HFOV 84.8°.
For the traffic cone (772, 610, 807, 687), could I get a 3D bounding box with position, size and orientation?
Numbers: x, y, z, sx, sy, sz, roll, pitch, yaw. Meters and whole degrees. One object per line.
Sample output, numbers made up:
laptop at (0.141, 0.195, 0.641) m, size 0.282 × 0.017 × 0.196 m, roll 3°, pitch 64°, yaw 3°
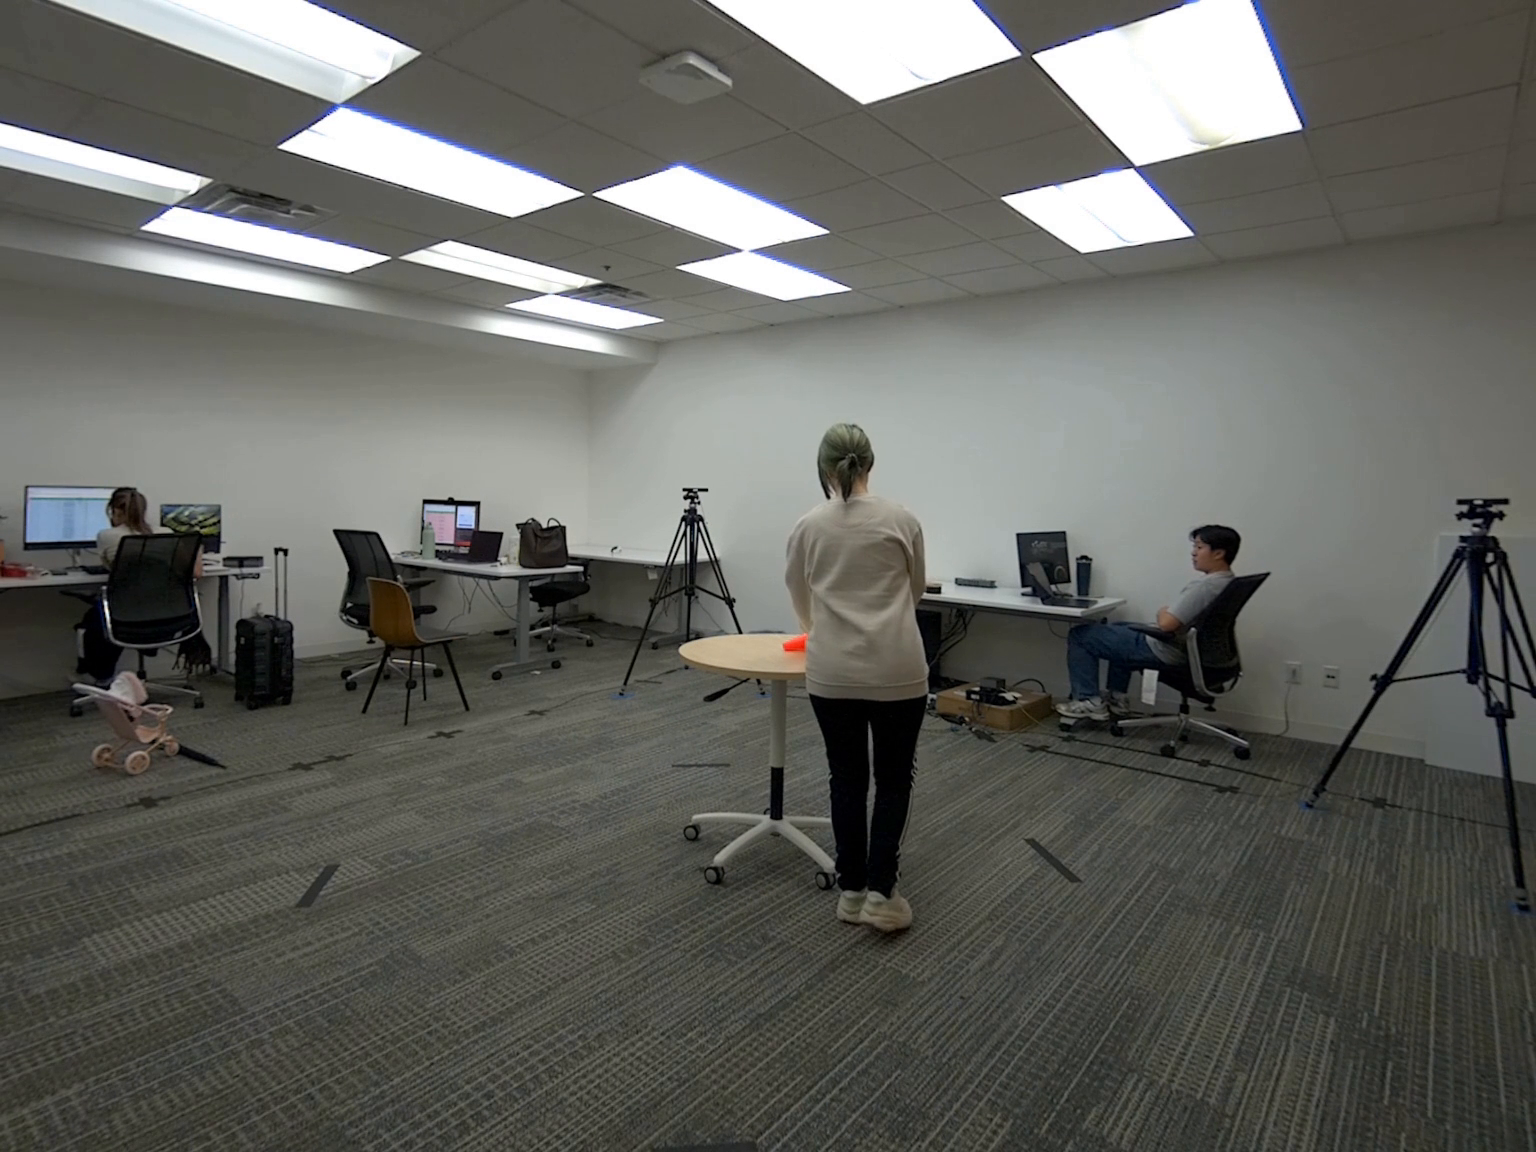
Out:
traffic cone at (0.239, 0.240, 3.260) m, size 0.380 × 0.212 × 0.198 m, roll -14°, pitch -35°, yaw -13°
